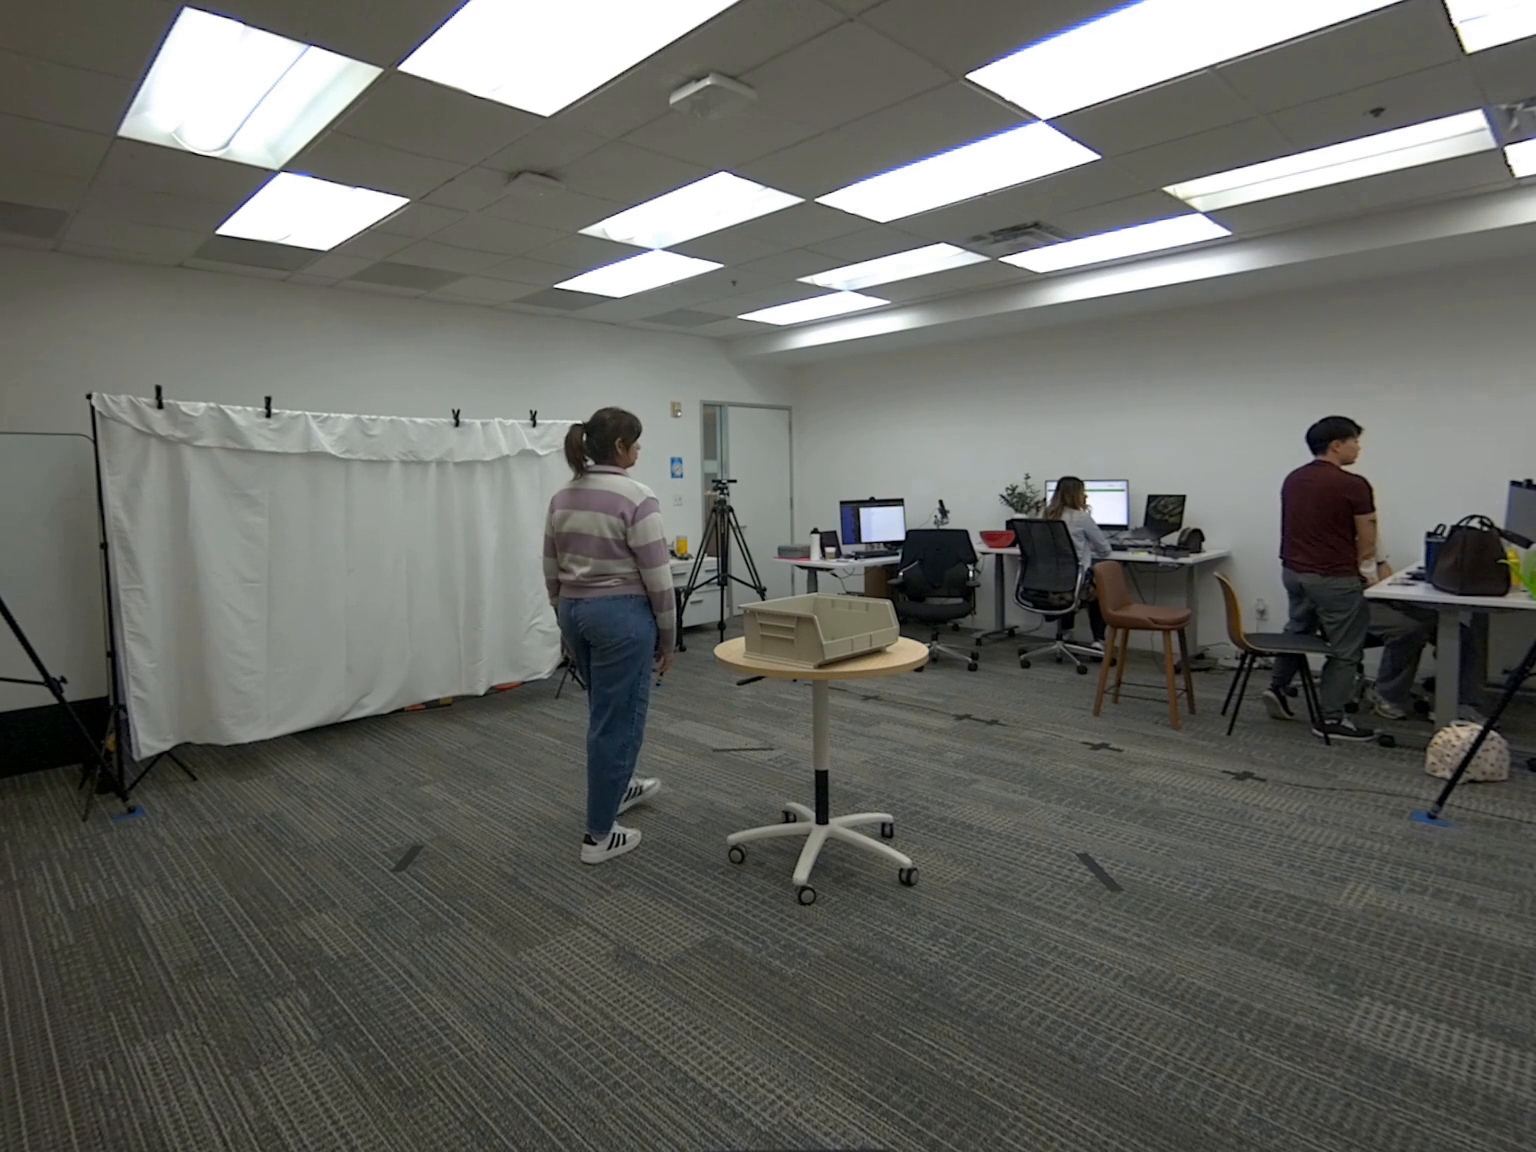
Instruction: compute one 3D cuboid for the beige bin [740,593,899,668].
[{"bbox_3d":[0.182,0.186,2.966,0.388,0.188,0.411,2,7,45],"label":"beige bin"}]
